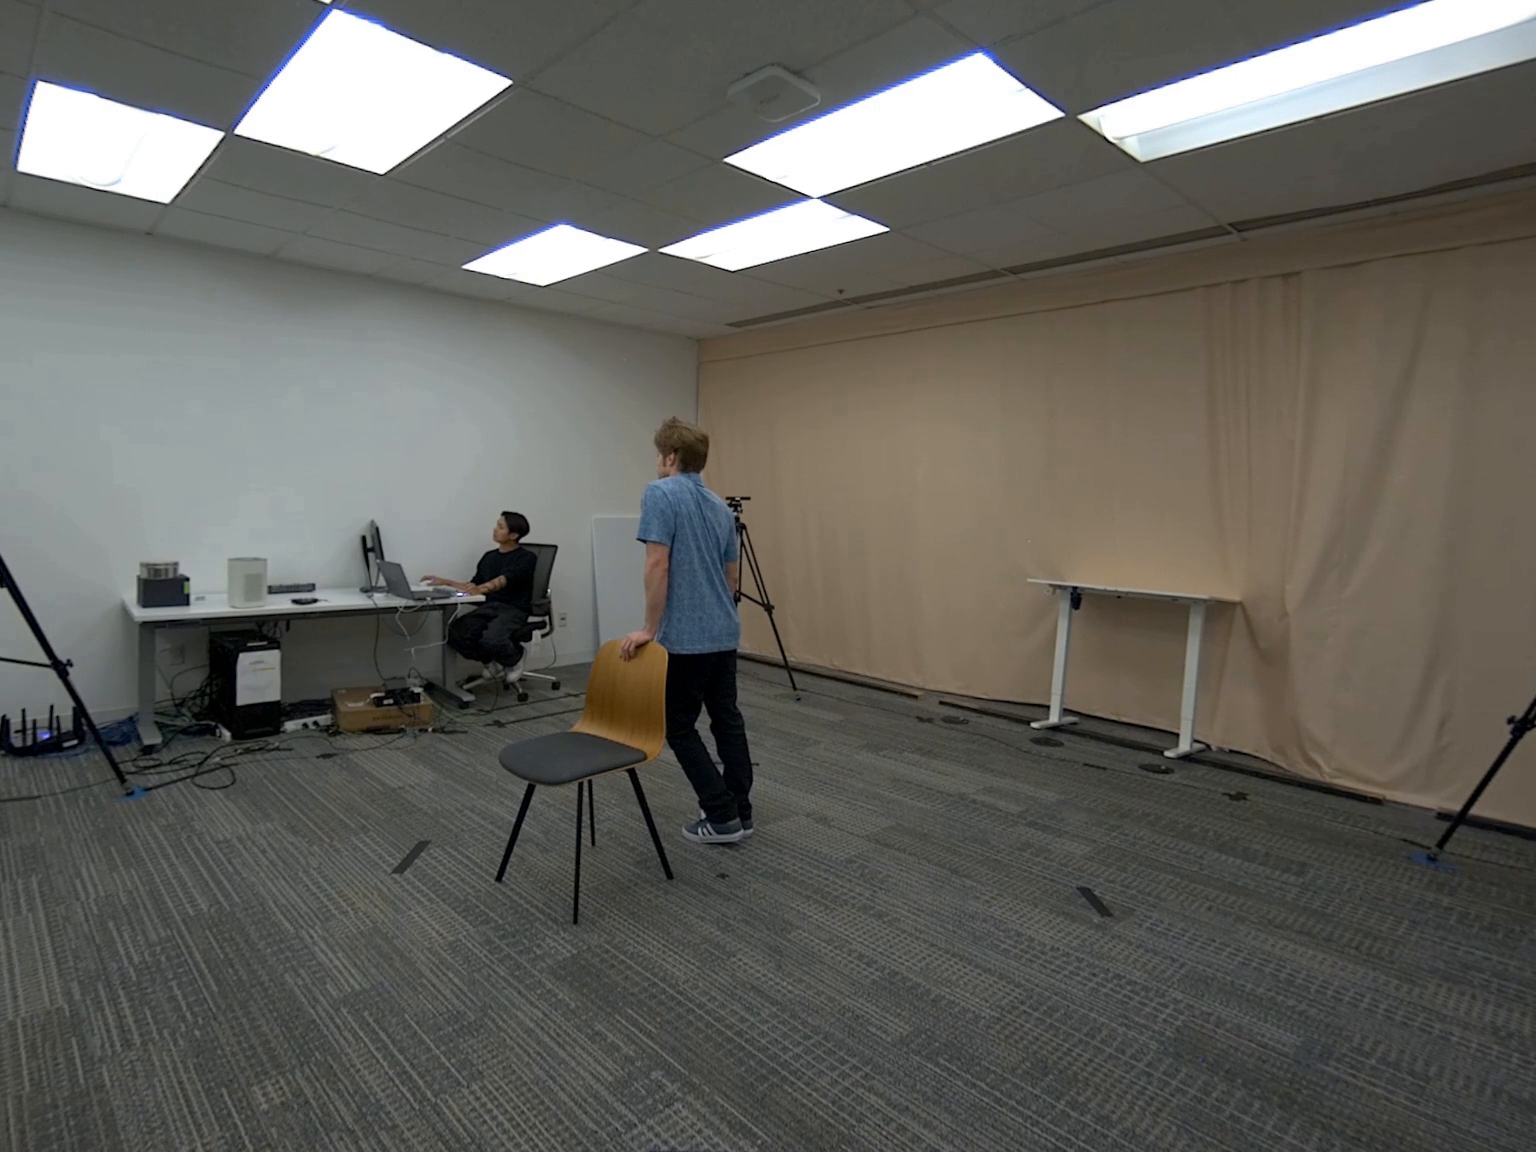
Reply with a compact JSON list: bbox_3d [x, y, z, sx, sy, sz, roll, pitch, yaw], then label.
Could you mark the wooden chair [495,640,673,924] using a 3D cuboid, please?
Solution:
[{"bbox_3d":[-0.657,0.677,3.001,0.490,0.877,0.510,5,0,40],"label":"wooden chair"}]
